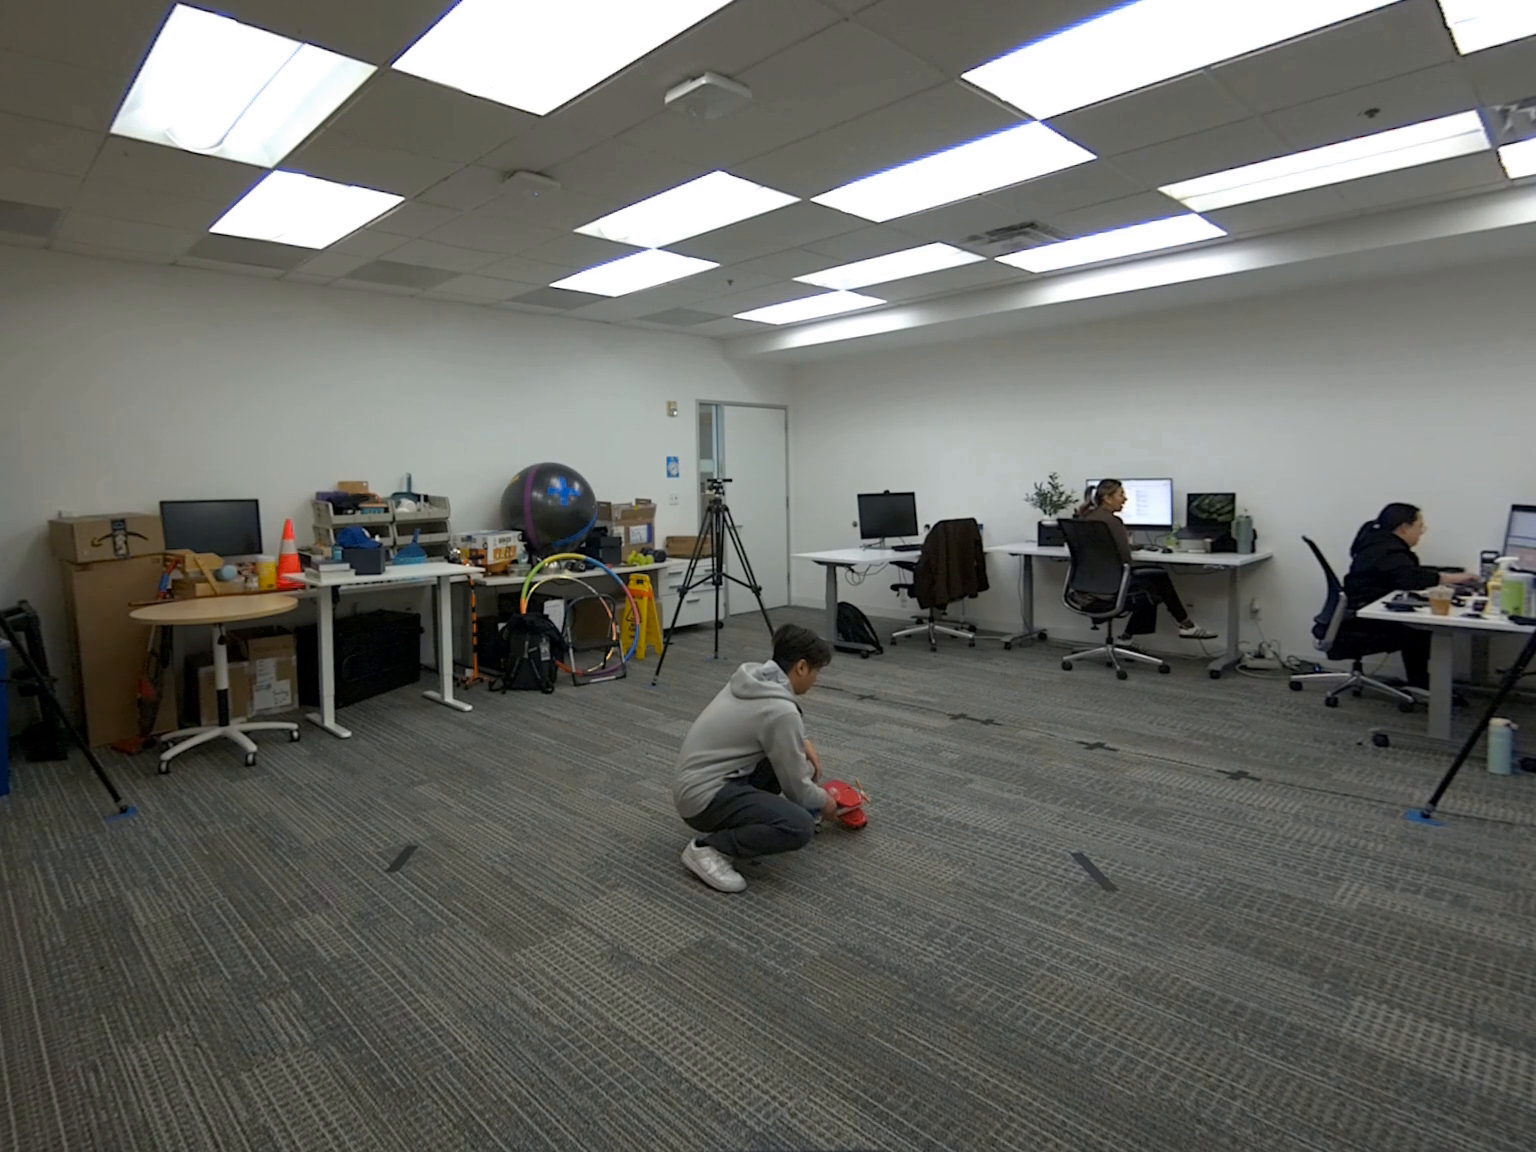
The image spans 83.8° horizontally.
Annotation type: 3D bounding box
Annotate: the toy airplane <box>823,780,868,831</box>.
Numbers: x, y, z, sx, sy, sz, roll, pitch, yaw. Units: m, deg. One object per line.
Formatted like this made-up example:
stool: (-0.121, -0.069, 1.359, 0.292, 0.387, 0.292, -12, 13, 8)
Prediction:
toy airplane: (0.278, 0.927, 3.395, 0.259, 0.156, 0.252, 6, 8, 44)
